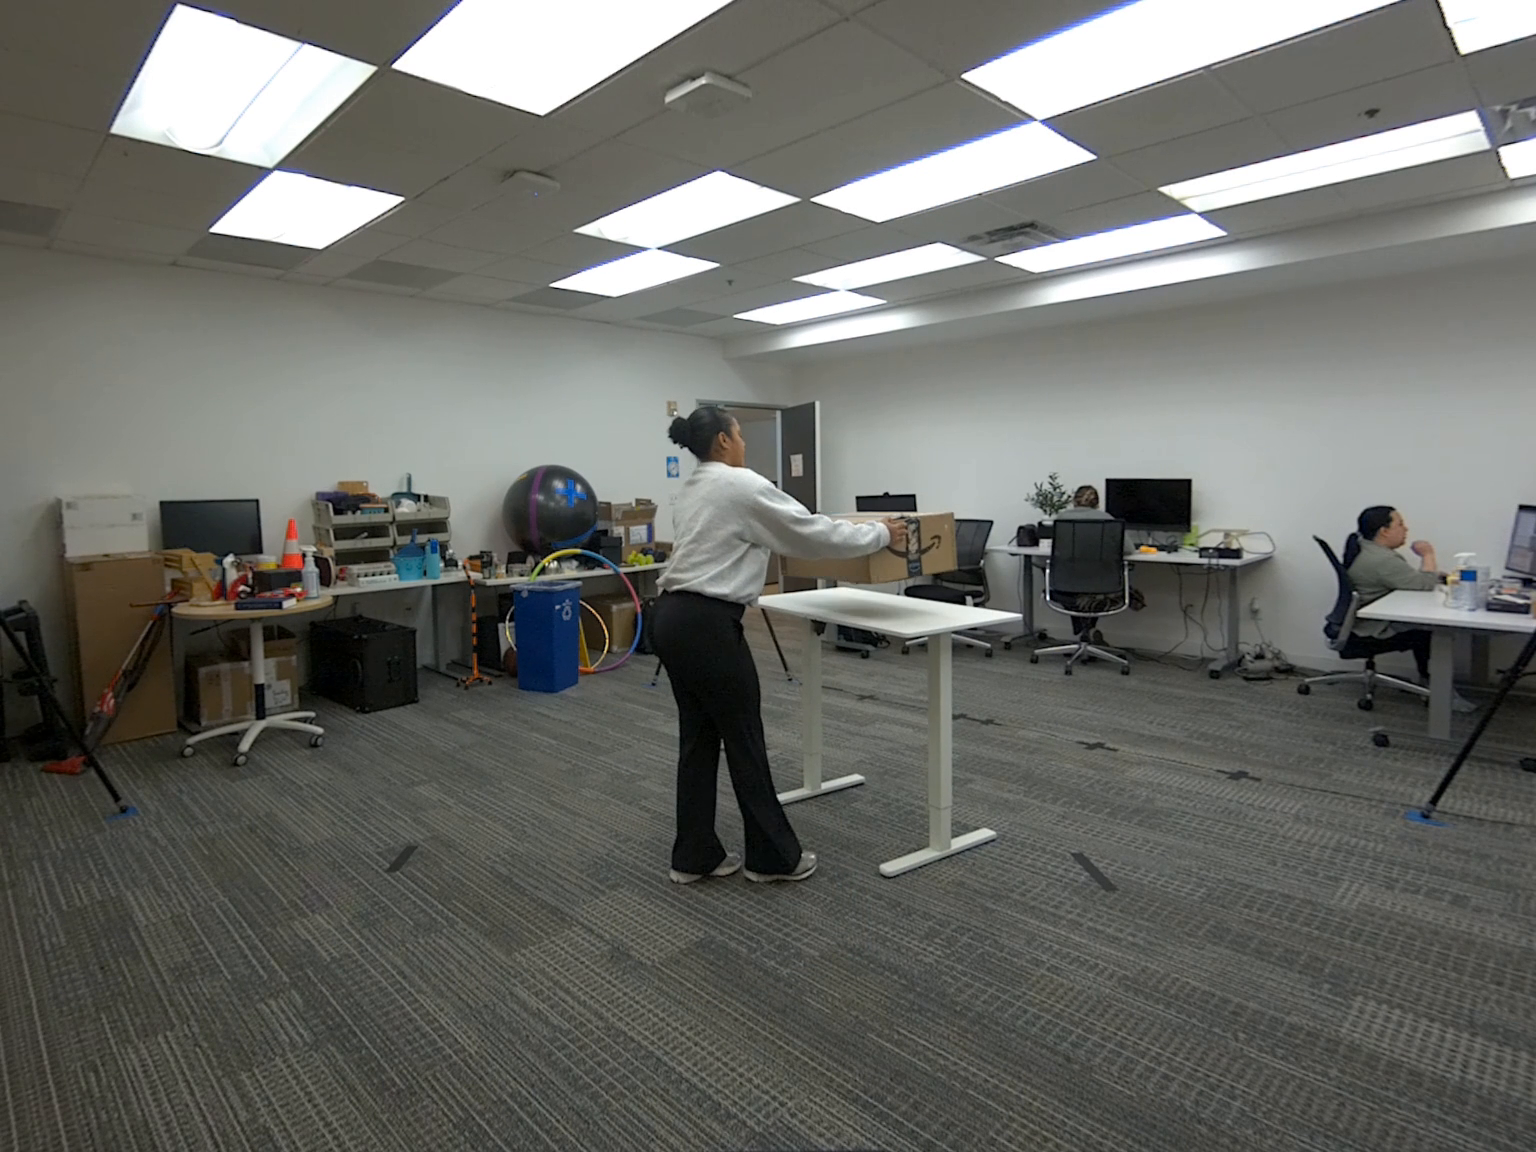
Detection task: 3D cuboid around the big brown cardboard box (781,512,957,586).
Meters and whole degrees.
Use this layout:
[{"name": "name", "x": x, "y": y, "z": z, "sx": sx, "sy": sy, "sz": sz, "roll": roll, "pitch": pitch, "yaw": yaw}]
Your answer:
[{"name": "big brown cardboard box", "x": 0.372, "y": -0.119, "z": 3.307, "sx": 0.408, "sy": 0.232, "sz": 0.605, "roll": -9, "pitch": 7, "yaw": -32}]
